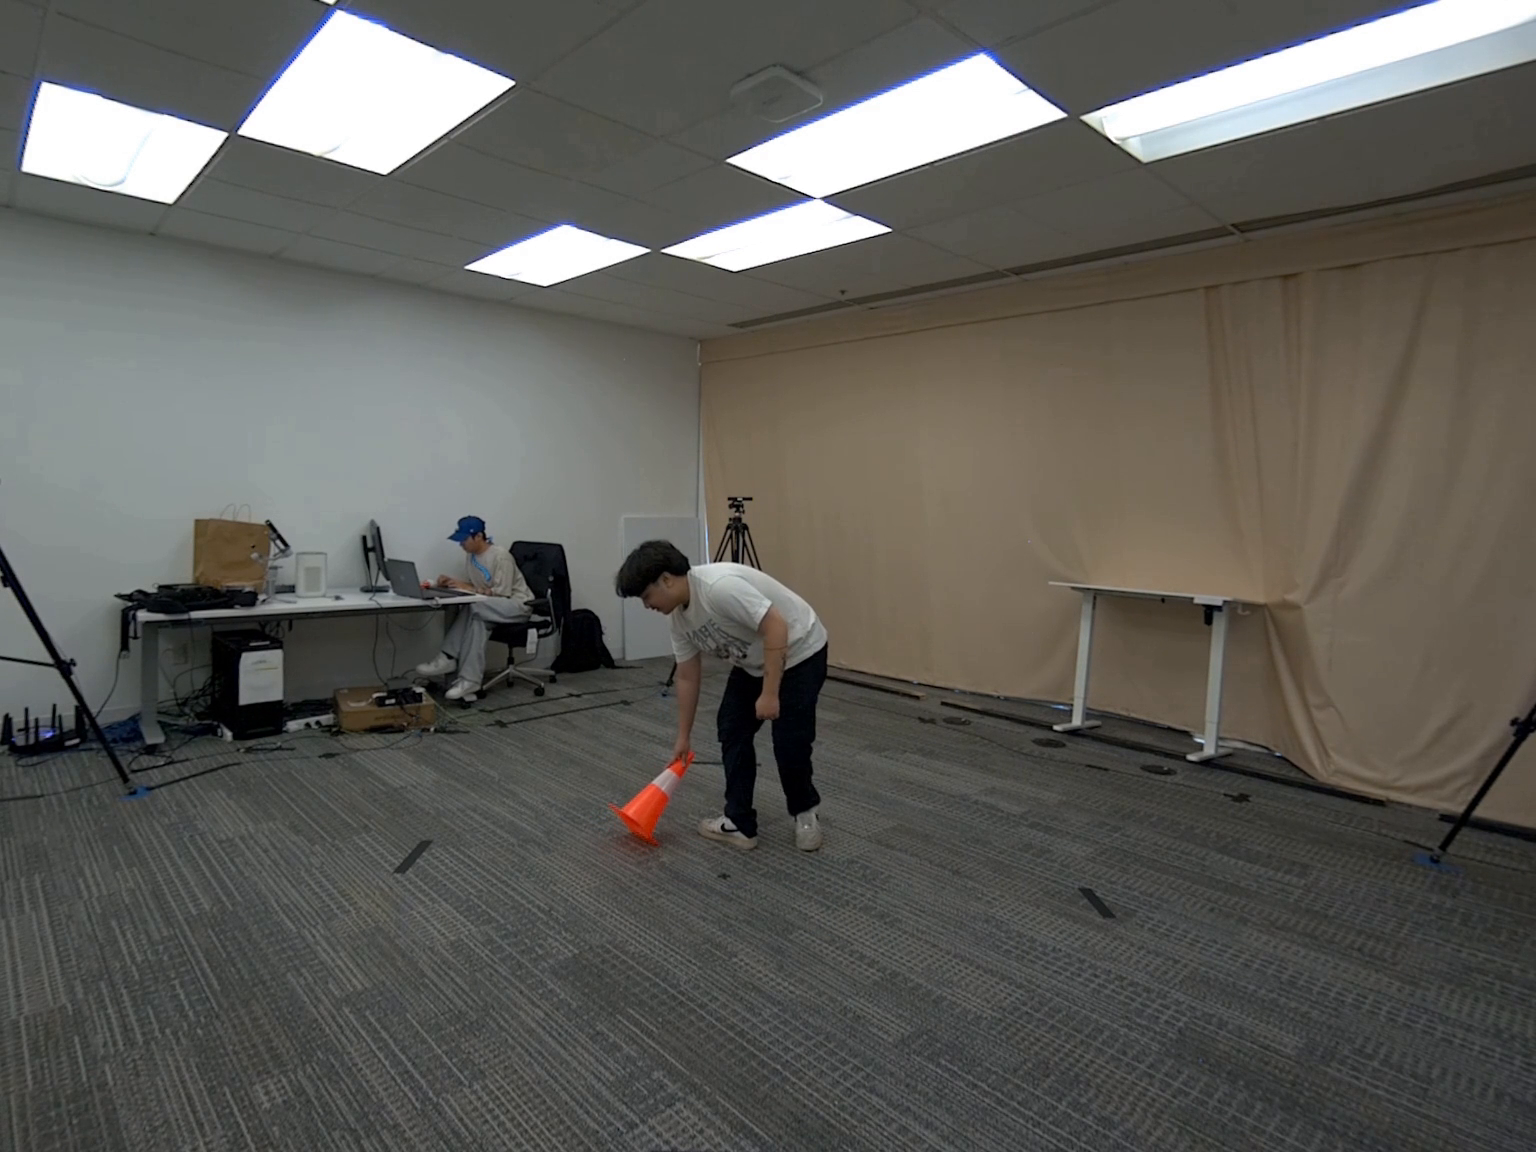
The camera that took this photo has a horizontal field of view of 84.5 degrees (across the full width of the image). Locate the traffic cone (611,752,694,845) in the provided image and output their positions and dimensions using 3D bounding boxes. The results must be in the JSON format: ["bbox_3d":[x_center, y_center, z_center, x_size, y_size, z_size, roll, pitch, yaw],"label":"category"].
[{"bbox_3d":[-0.438,0.871,3.457,0.210,0.198,0.383,9,50,50],"label":"traffic cone"}]
